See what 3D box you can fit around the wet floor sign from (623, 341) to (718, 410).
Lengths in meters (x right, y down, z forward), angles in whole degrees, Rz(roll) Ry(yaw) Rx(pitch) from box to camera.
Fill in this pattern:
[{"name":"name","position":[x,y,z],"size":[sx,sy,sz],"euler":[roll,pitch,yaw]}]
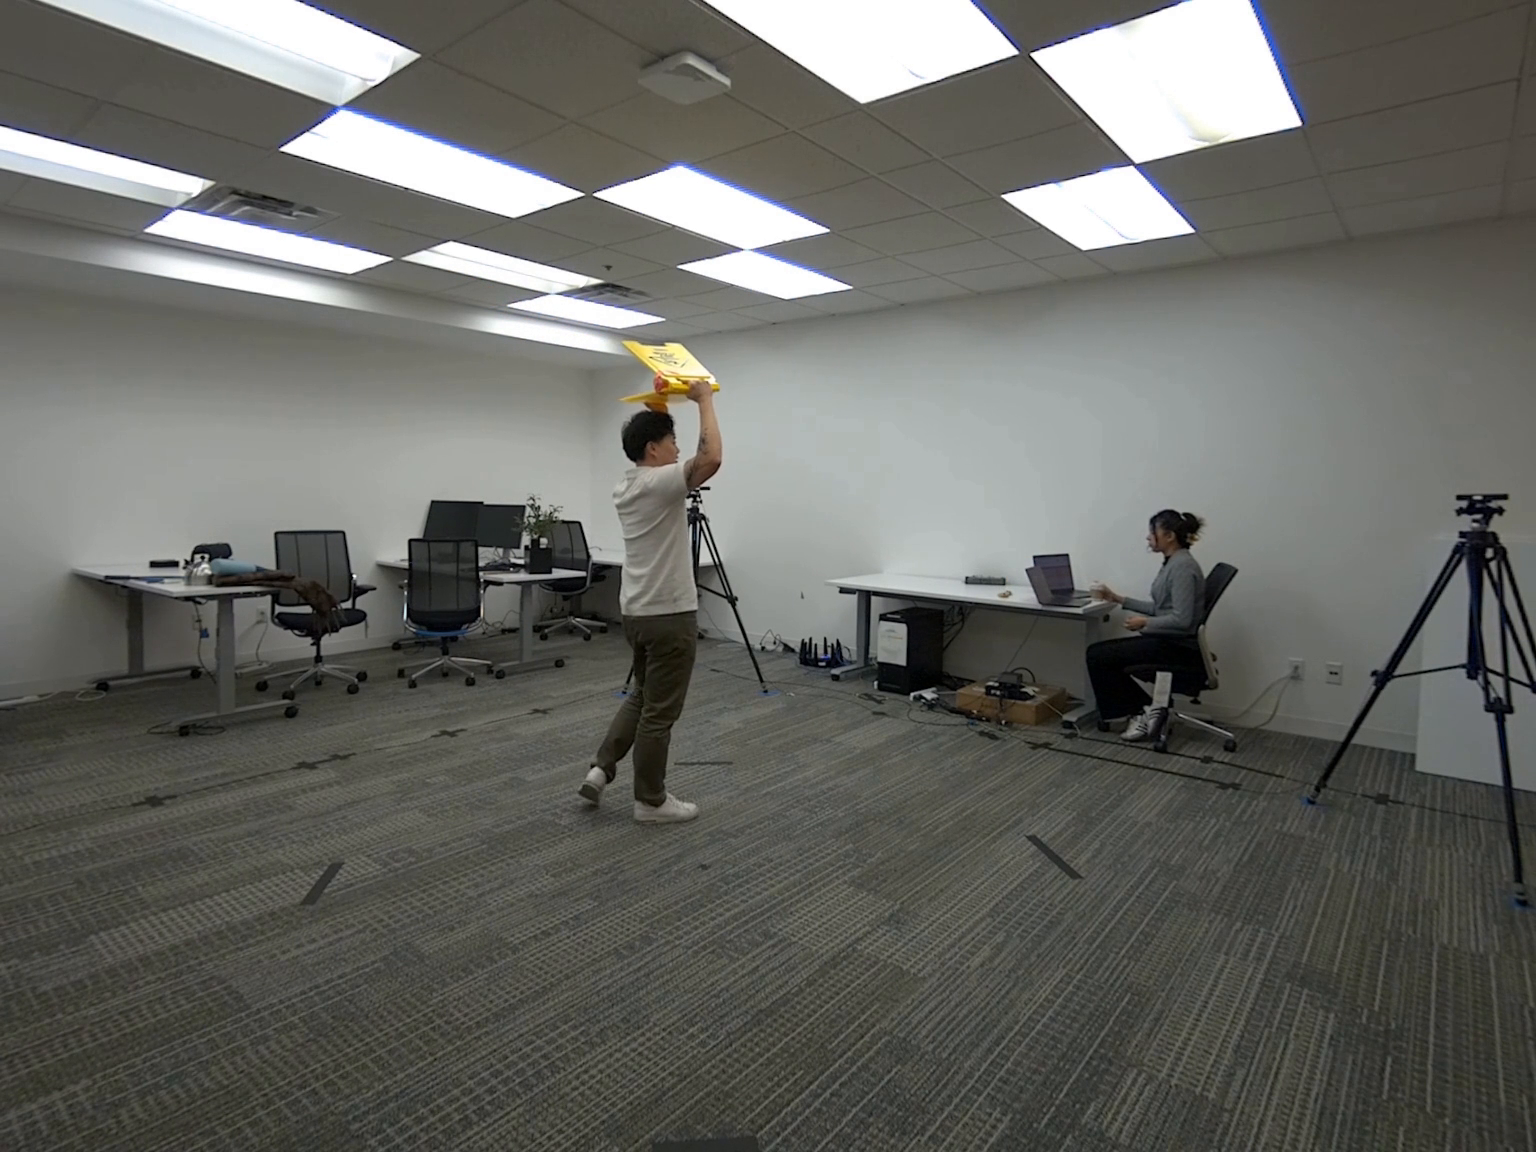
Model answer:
[{"name":"wet floor sign","position":[-0.414,-0.825,3.565],"size":[0.277,0.286,0.668],"euler":[-2,18,-21]}]
